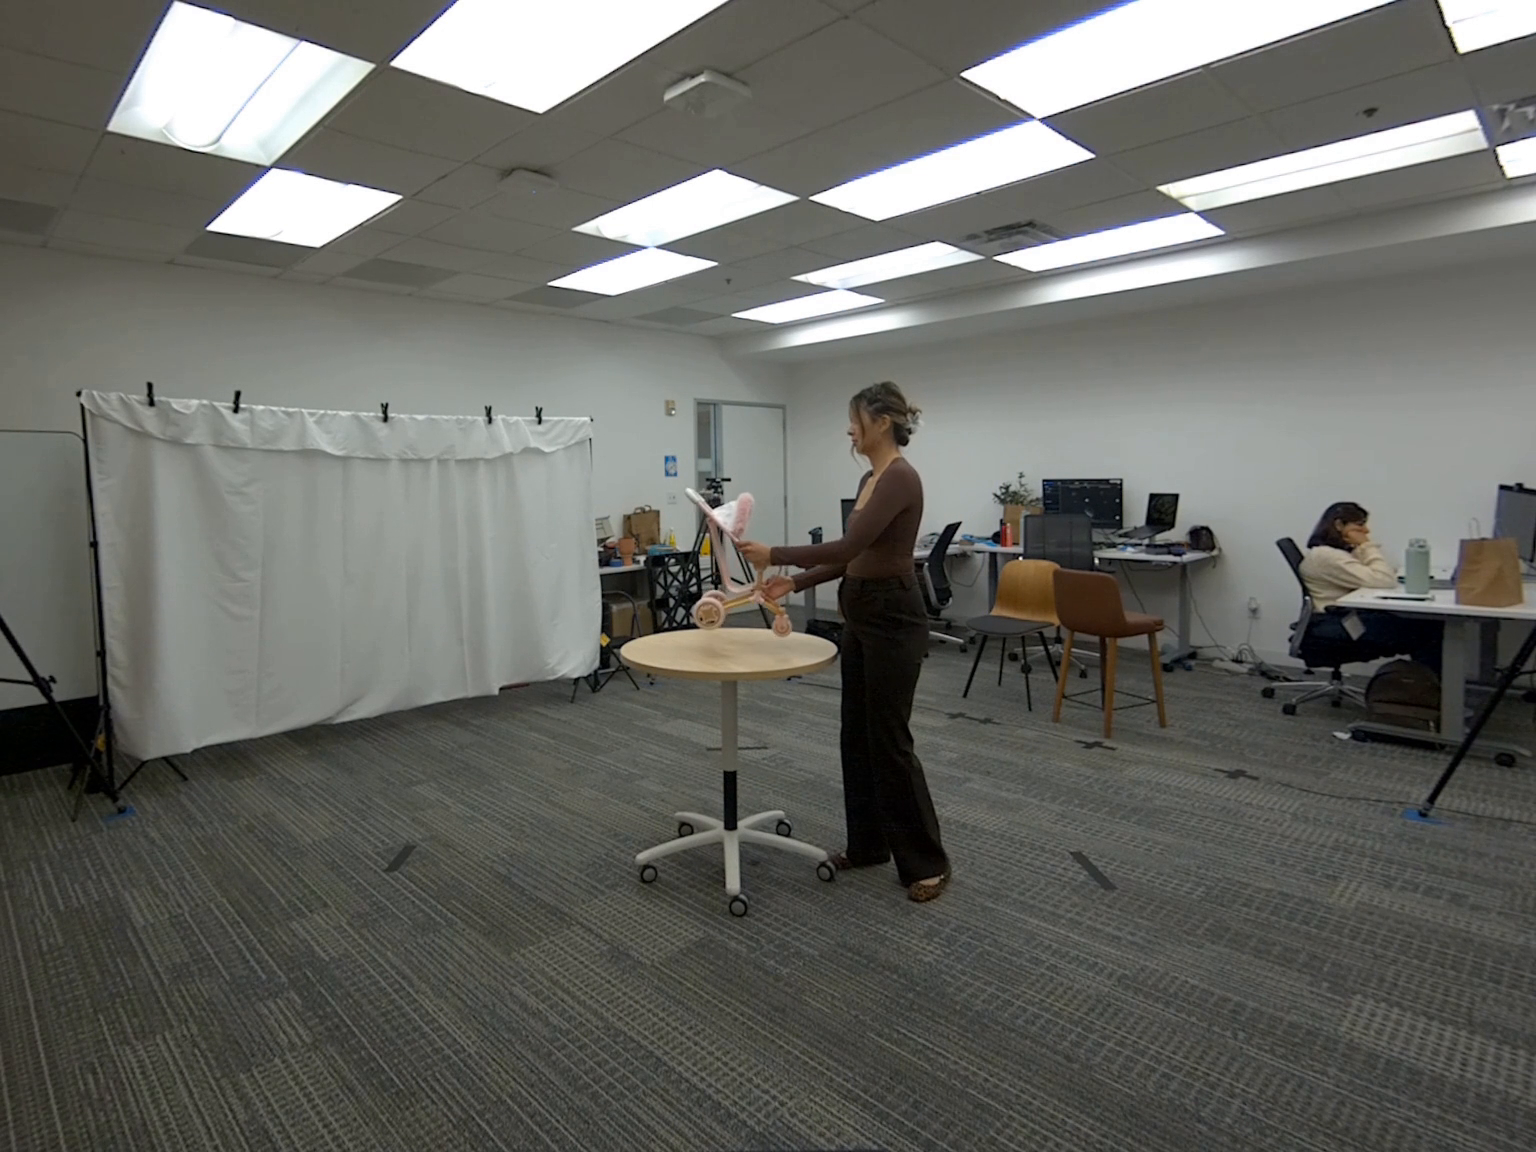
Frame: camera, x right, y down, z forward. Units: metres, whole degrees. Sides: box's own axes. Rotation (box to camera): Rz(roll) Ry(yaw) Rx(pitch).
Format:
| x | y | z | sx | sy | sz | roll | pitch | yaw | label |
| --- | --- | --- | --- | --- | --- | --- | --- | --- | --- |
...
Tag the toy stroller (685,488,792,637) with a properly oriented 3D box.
| x | y | z | sx | sy | sz | roll | pitch | yaw | label |
| --- | --- | --- | --- | --- | --- | --- | --- | --- | --- |
| -0.091 | -0.048 | 2.965 | 0.344 | 0.535 | 0.280 | -4 | 1 | 7 | toy stroller |
